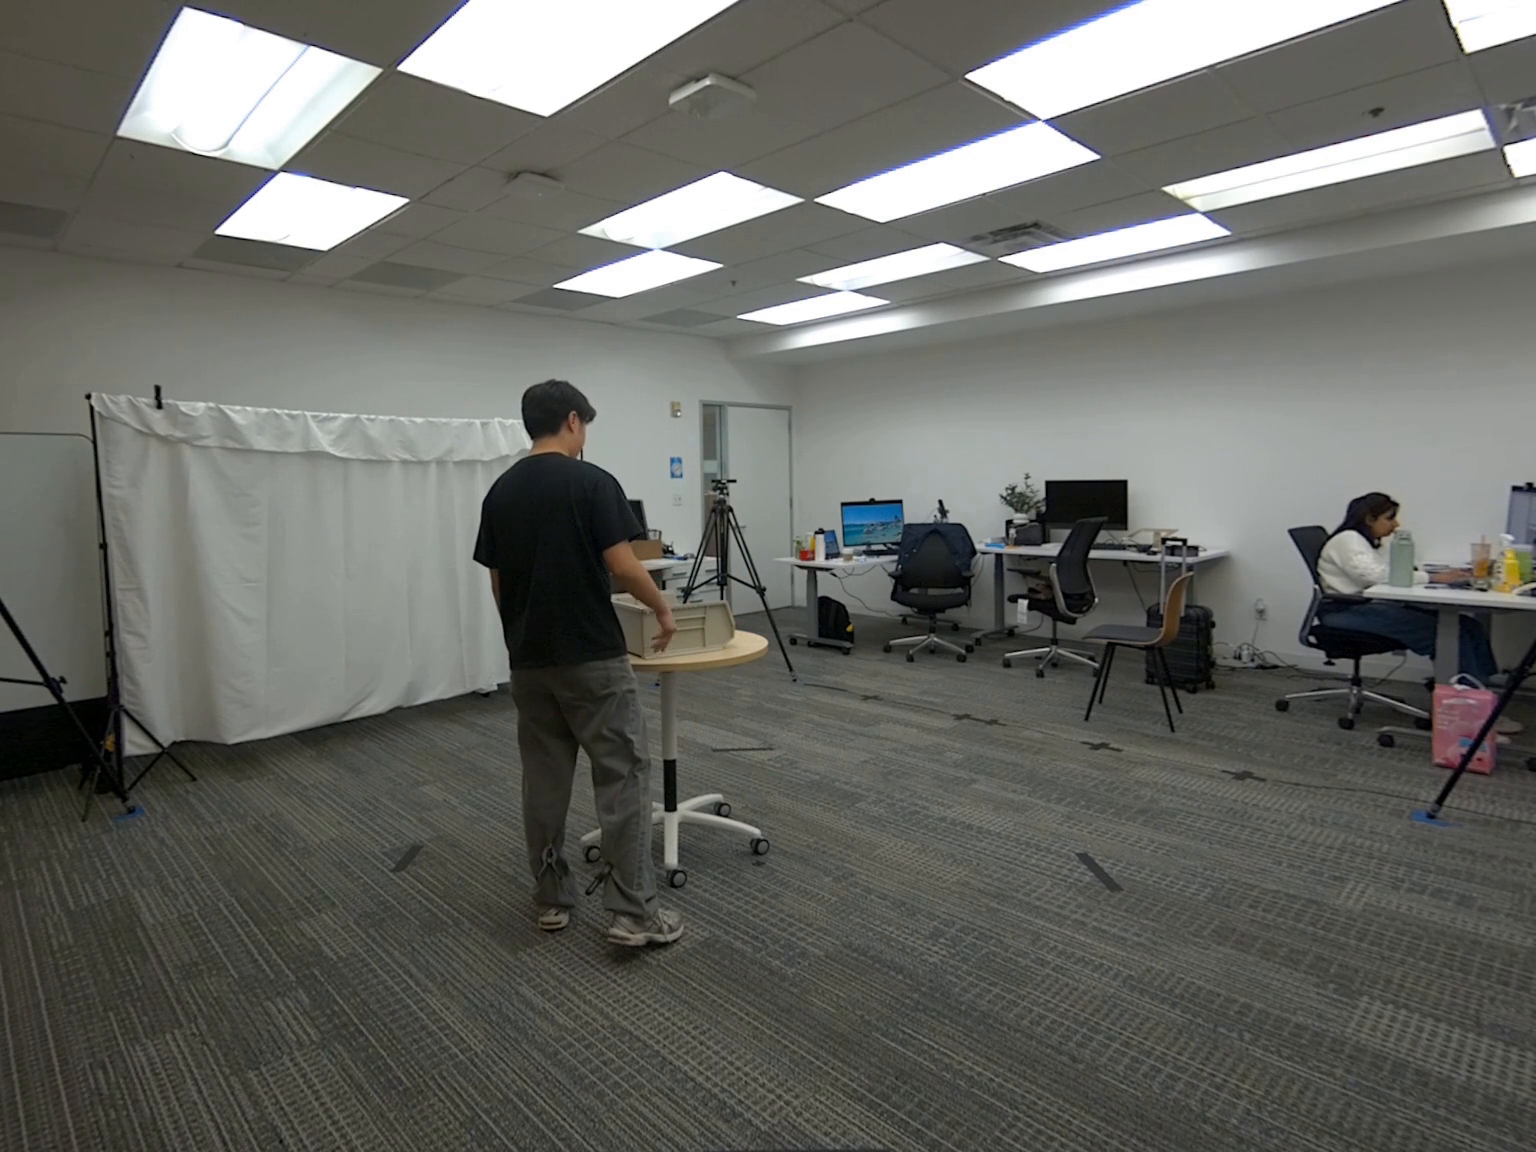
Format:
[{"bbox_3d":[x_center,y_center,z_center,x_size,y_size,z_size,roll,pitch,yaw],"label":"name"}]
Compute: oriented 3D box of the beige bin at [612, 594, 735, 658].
[{"bbox_3d":[-0.388,0.172,3.185,0.368,0.188,0.434,-6,8,-31],"label":"beige bin"}]
